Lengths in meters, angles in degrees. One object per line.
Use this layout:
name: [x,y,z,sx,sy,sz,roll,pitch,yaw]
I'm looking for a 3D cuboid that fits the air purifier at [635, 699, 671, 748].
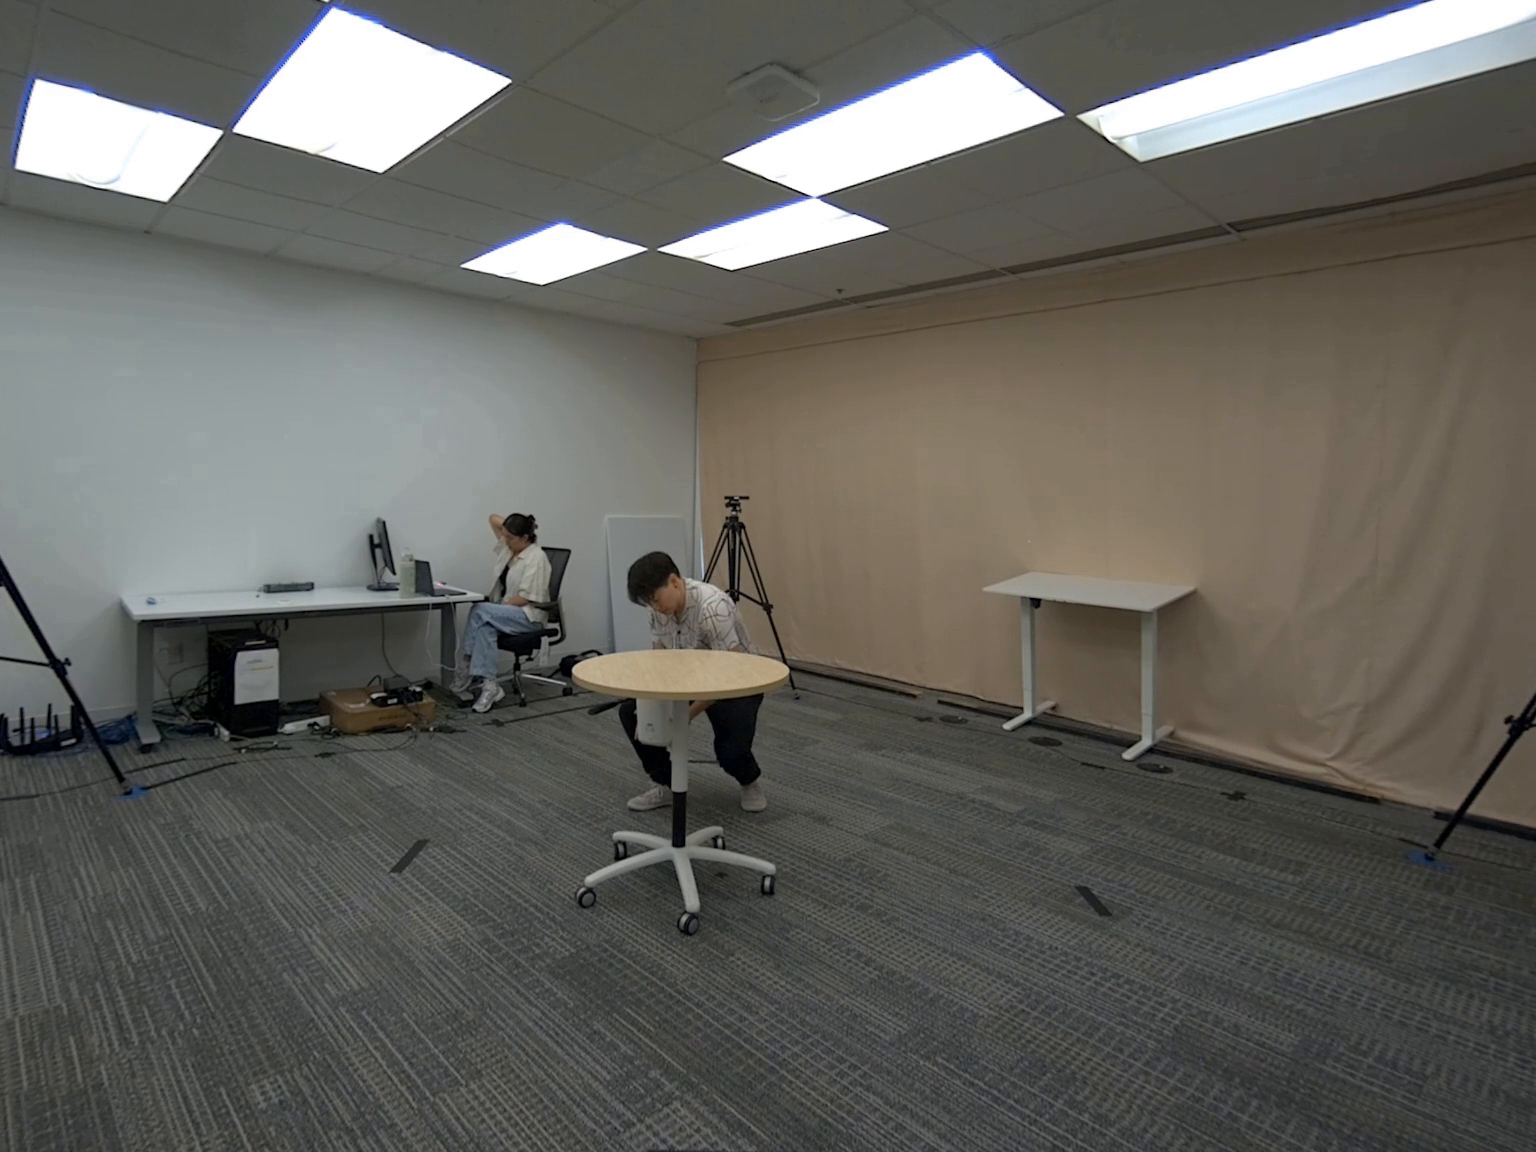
air purifier: [-0.473,0.567,3.535,0.174,0.264,0.169,1,6,25]
